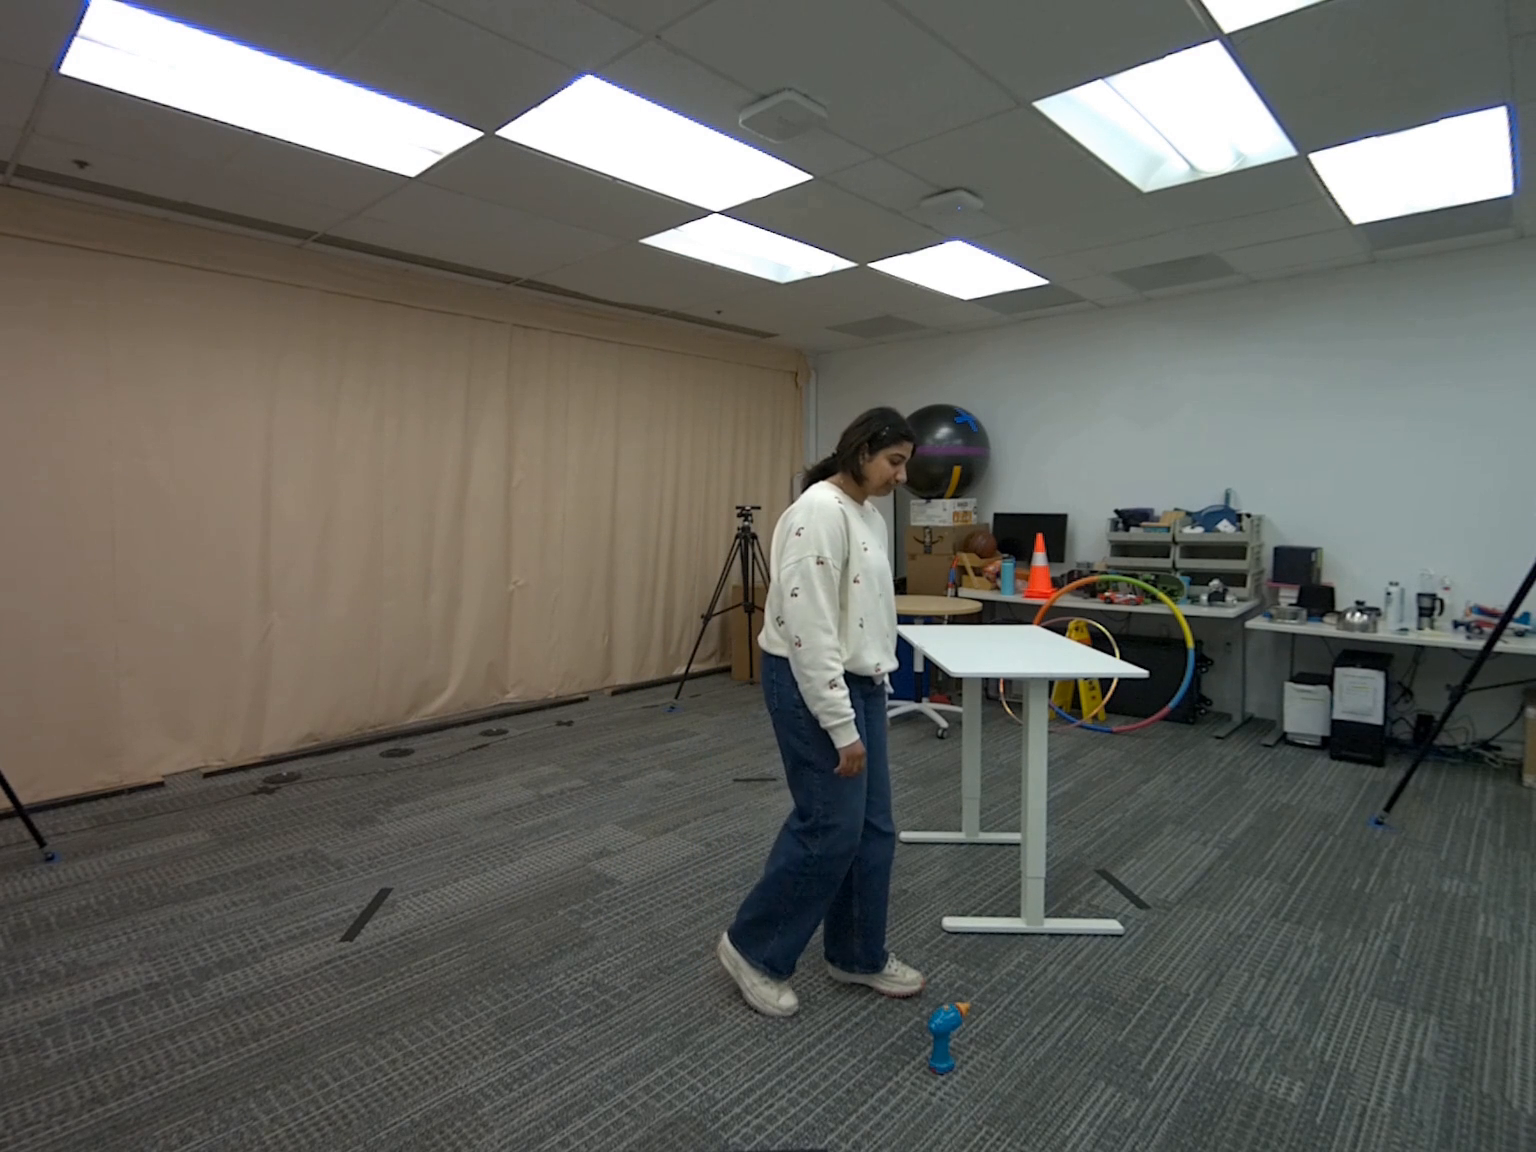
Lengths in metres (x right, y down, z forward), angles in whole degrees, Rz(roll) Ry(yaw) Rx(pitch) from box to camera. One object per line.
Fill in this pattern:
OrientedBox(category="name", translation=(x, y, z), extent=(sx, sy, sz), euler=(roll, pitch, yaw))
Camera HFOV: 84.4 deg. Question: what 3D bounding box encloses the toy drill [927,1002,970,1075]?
OrientedBox(category="toy drill", translation=(0.468, 1.148, 2.106), extent=(0.063, 0.145, 0.165), euler=(6, 7, 42))
